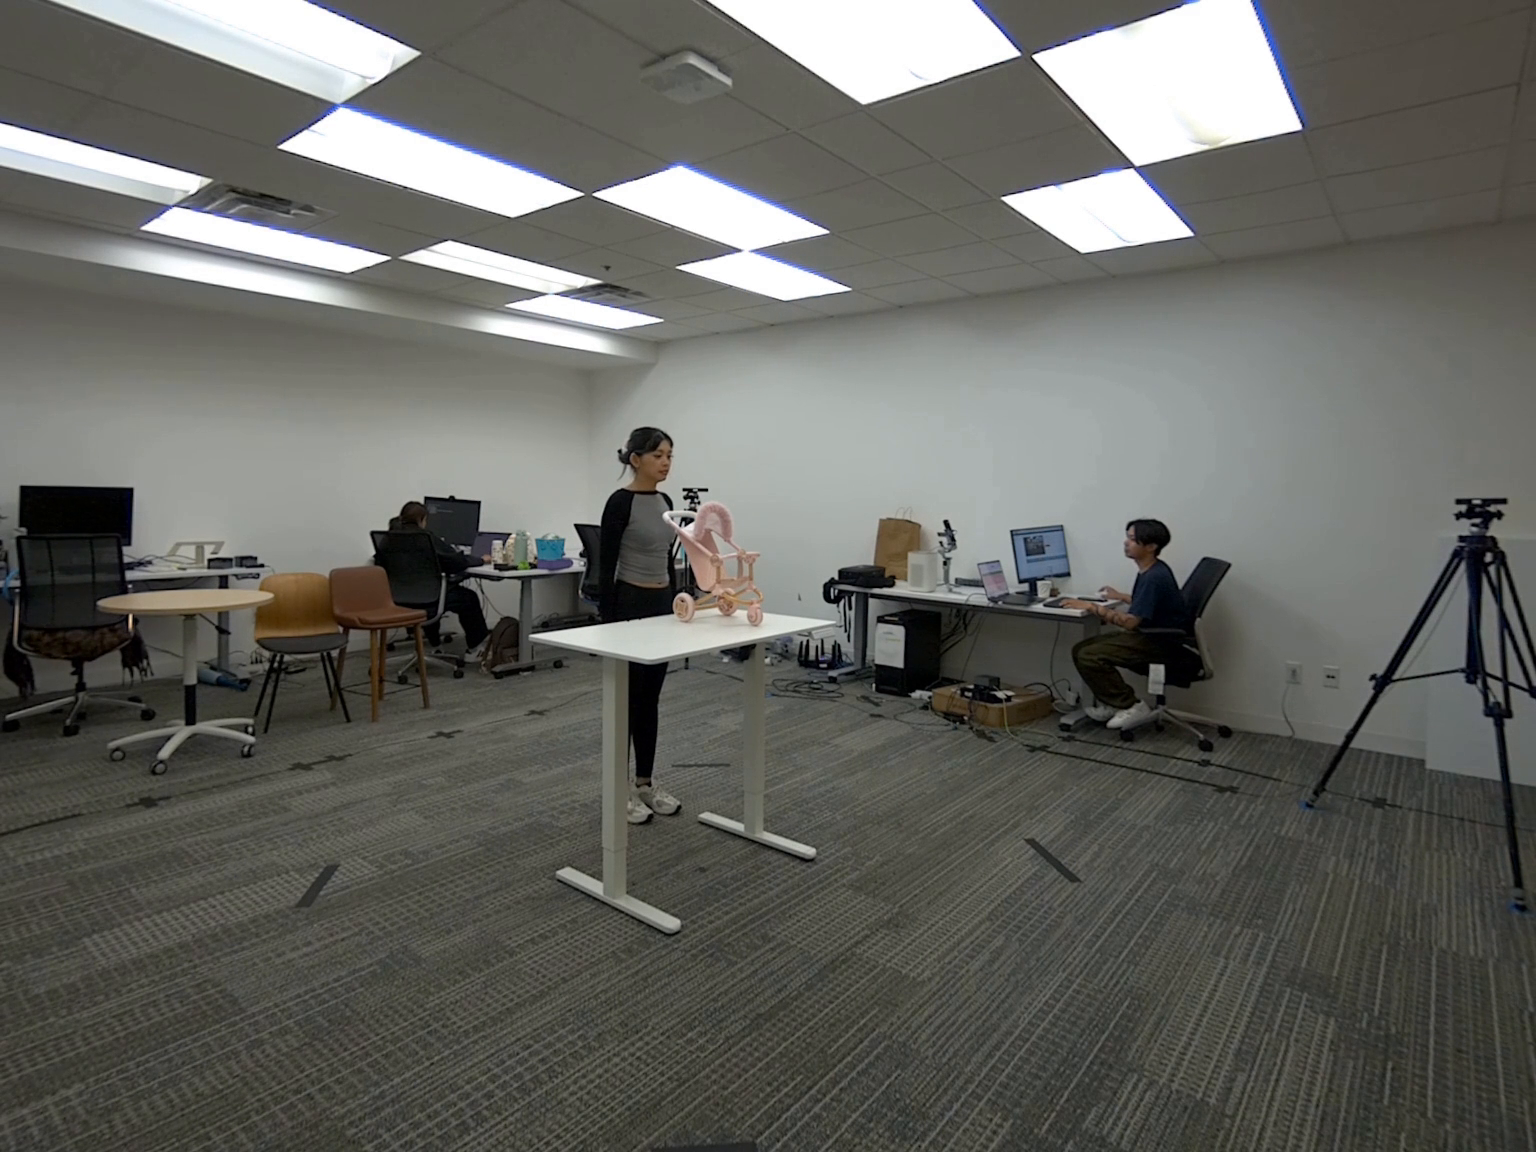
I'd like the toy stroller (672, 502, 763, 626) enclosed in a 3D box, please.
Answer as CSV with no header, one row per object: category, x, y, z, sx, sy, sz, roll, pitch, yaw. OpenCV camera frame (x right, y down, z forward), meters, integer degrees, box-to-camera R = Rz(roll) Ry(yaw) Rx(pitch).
toy stroller,-0.204,-0.053,3.276,0.273,0.541,0.348,-3,-13,-45
